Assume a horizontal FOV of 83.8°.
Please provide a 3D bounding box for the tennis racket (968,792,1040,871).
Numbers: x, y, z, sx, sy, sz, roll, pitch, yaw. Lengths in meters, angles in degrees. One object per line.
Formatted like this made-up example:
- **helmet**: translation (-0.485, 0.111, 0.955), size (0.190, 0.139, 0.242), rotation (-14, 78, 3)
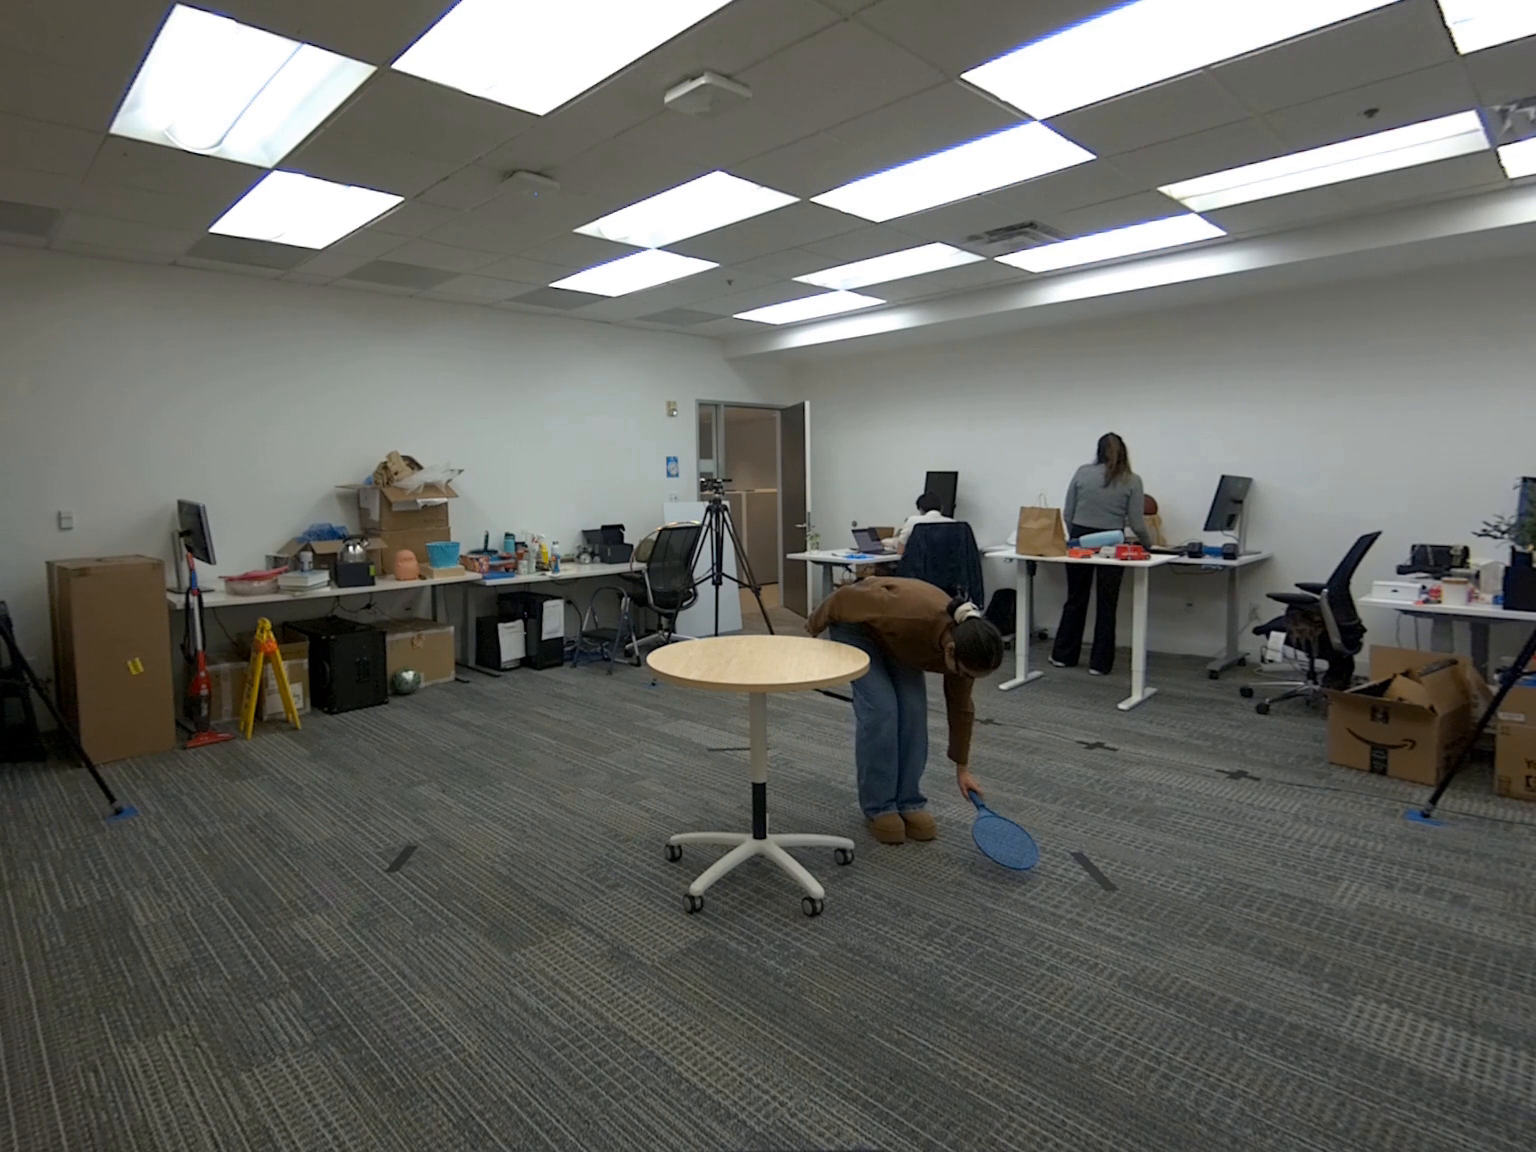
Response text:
- **tennis racket**: translation (0.809, 0.910, 3.096), size (0.211, 0.031, 0.446), rotation (-2, 24, -16)
